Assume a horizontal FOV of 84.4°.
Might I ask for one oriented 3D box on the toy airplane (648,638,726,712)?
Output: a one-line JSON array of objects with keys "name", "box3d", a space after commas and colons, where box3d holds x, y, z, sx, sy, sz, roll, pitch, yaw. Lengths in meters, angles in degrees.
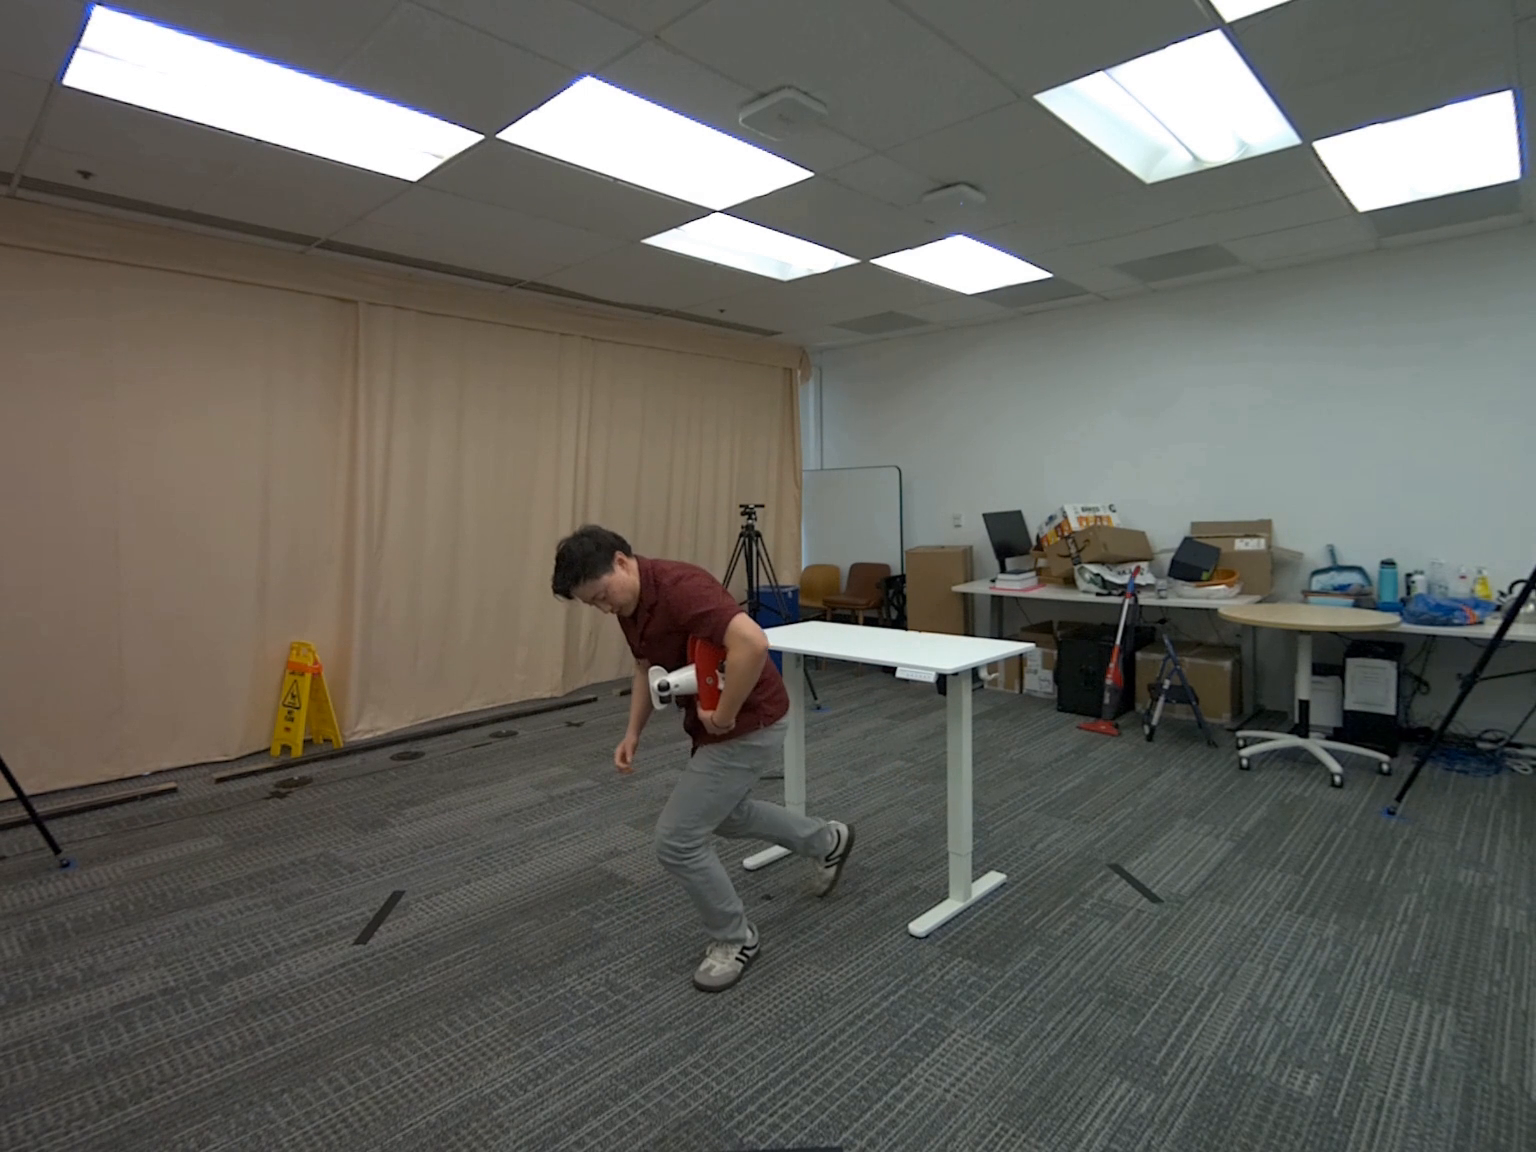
[{"name": "toy airplane", "box3d": [-0.193, 0.278, 2.307, 0.256, 0.251, 0.158, 18, 6, -10]}]
